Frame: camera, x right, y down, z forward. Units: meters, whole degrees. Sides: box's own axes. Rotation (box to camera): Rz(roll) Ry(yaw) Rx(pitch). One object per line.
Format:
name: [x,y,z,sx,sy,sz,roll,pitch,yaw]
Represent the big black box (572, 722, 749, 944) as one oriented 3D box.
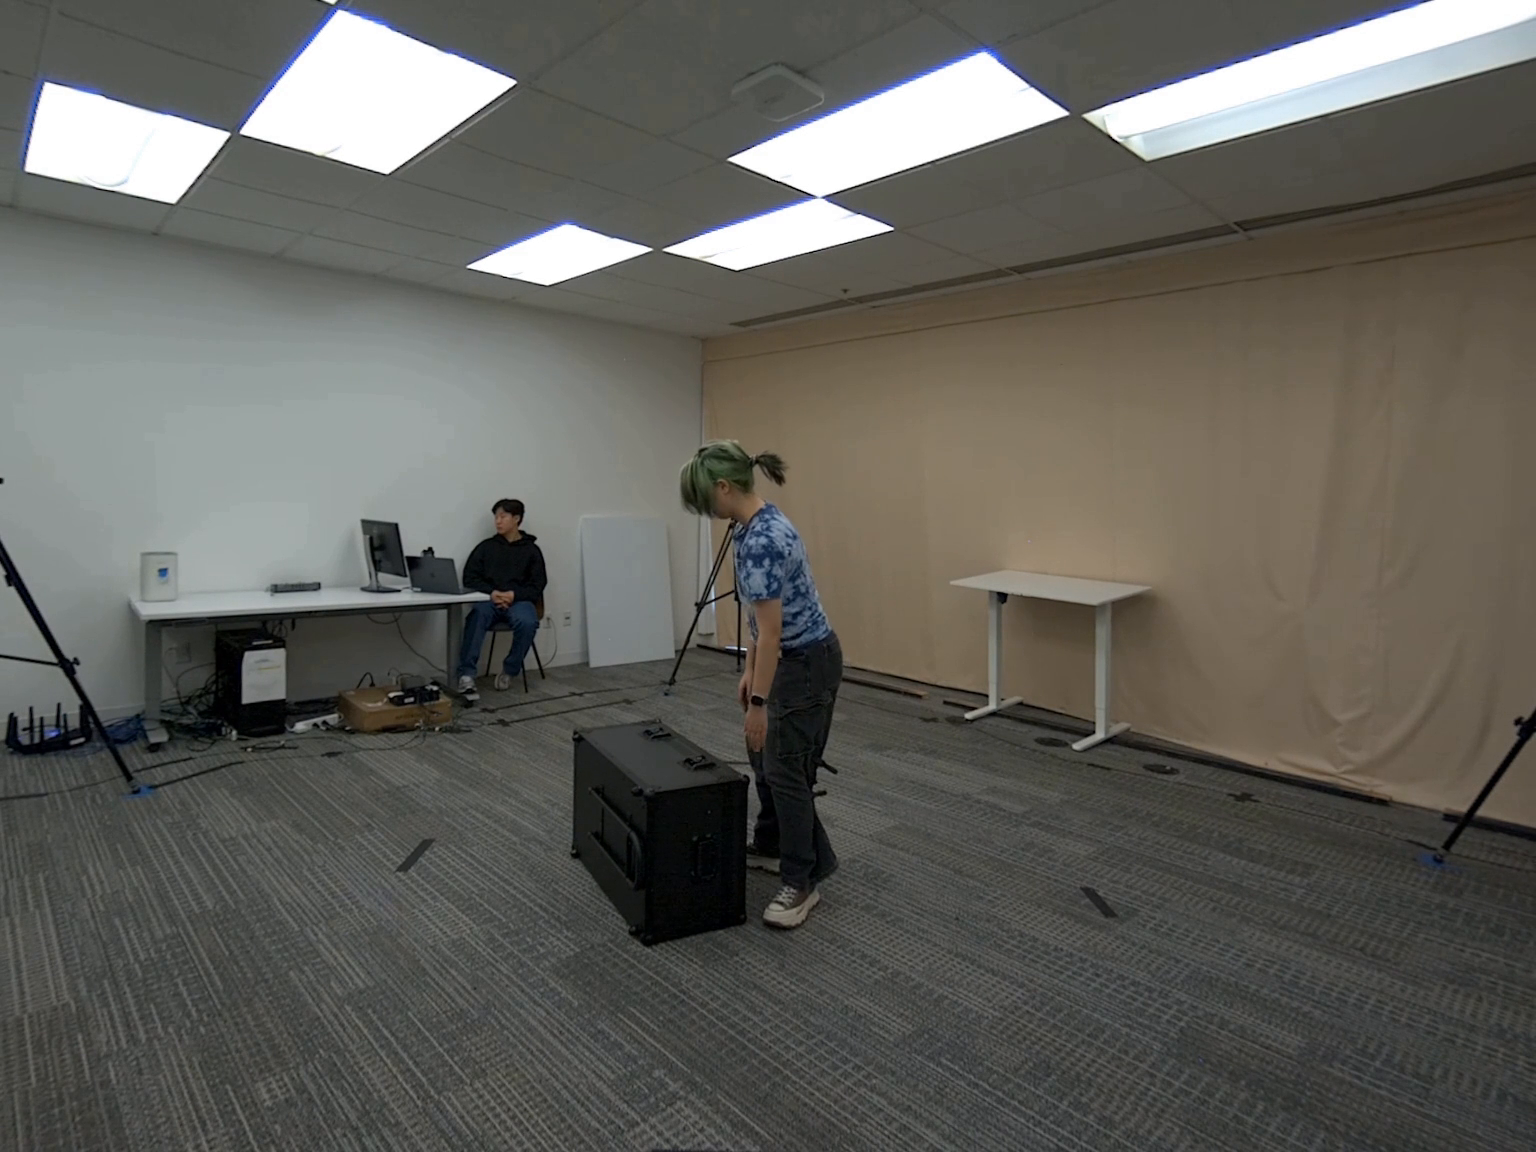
big black box: [-0.444,0.862,3.023,0.389,0.520,0.880,-1,5,-28]
